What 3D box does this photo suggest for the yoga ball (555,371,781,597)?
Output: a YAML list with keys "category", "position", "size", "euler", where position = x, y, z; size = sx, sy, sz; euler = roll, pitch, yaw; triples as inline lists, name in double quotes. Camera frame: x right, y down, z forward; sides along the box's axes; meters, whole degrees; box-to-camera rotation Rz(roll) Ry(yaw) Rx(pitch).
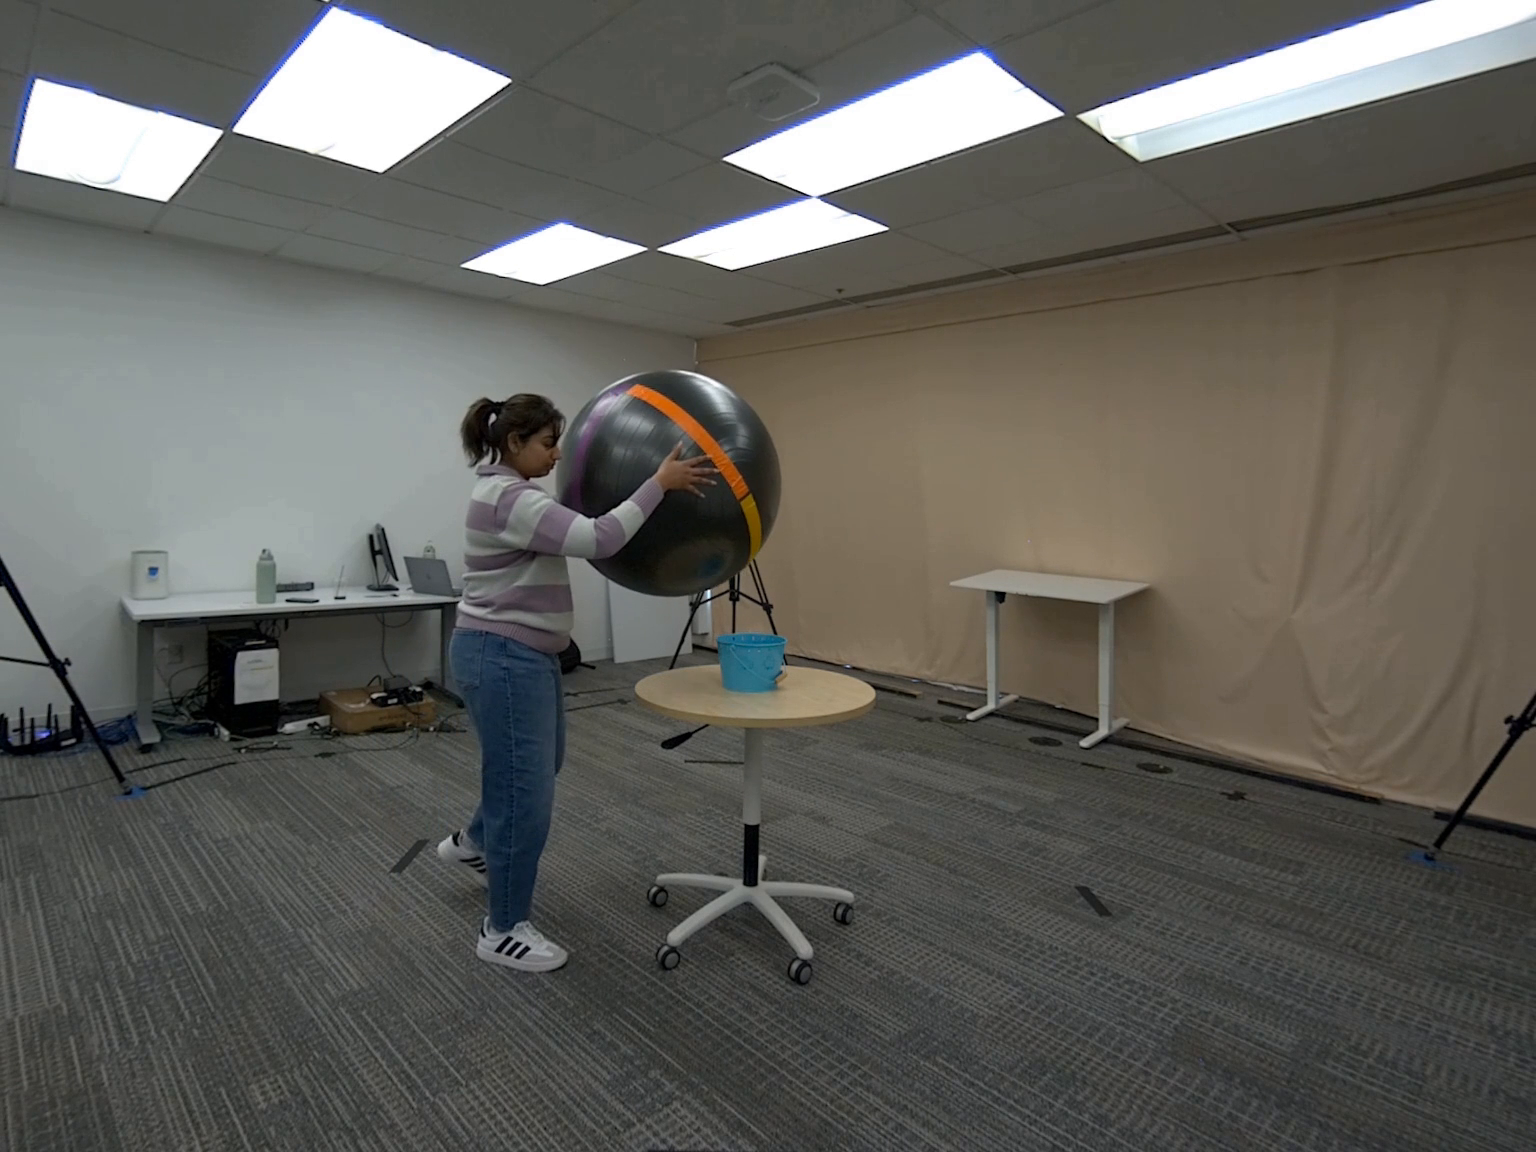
- category: "yoga ball"
  position: [-0.336, -0.303, 2.848]
  size: [0.757, 0.756, 0.761]
  euler: [1, 4, -1]
